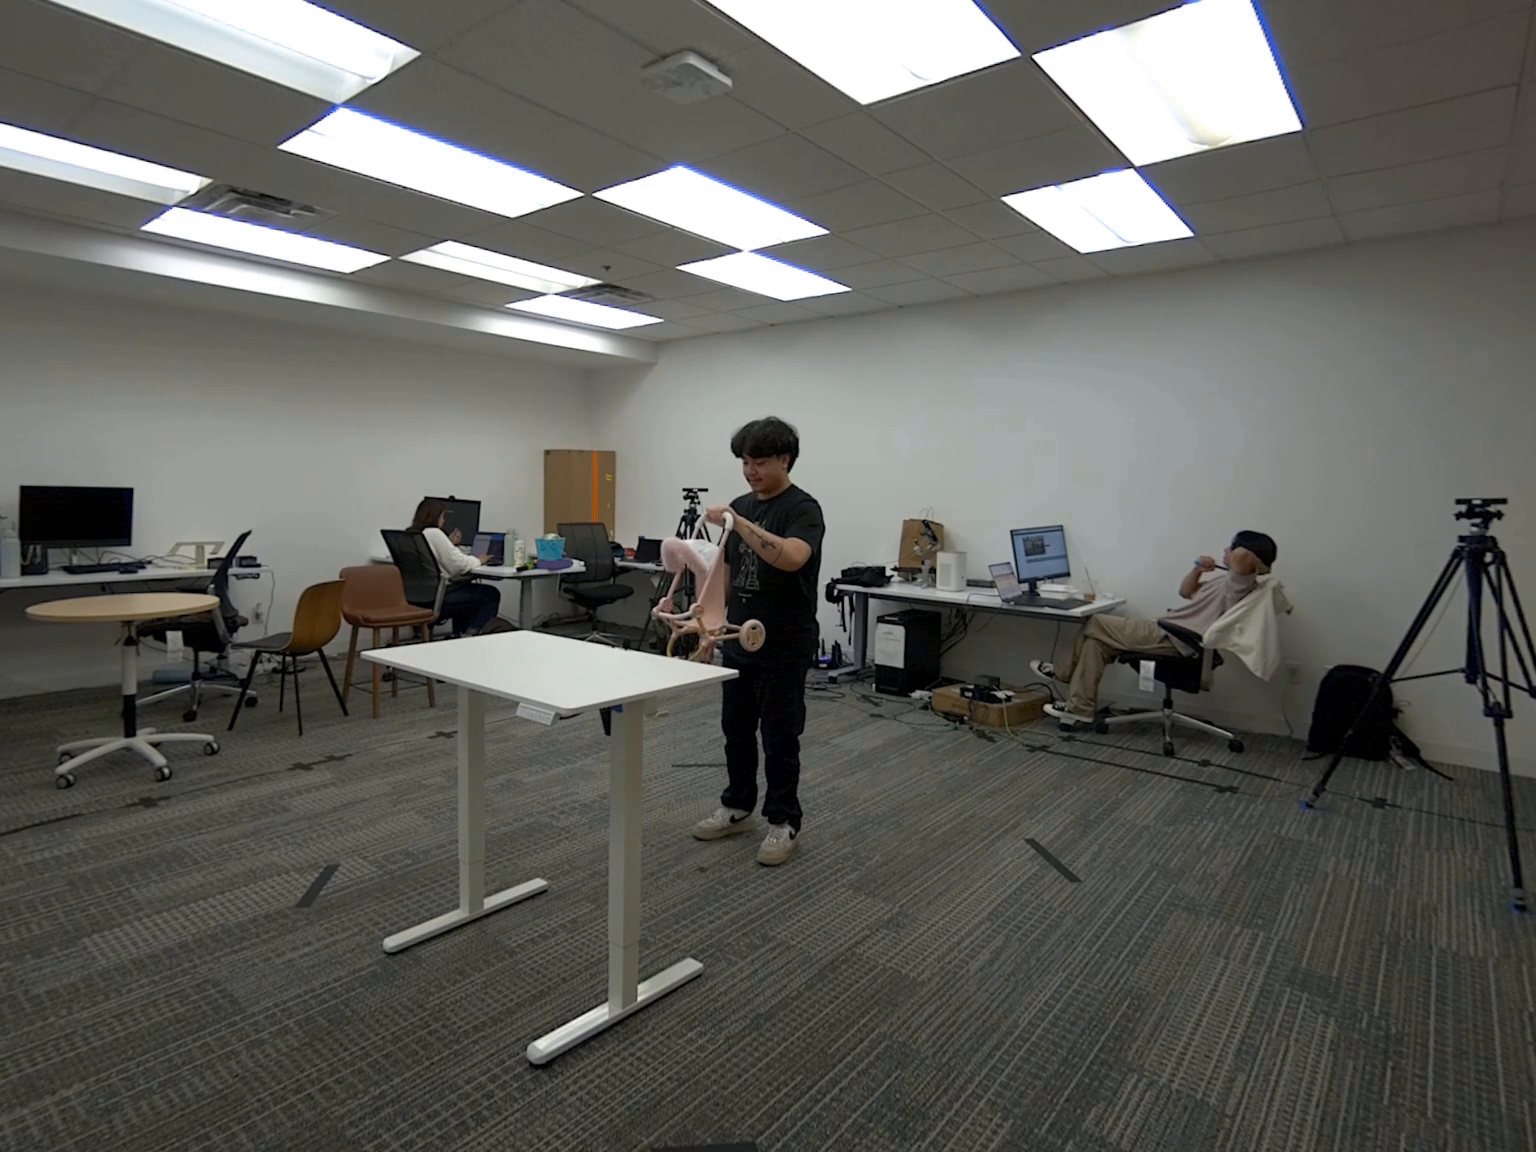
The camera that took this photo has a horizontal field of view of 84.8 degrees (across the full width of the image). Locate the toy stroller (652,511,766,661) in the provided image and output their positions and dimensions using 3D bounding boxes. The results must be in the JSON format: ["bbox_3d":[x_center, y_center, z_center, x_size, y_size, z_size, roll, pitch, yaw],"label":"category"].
[{"bbox_3d":[-0.264,0.078,2.952,0.335,0.528,0.290,-18,14,-30],"label":"toy stroller"}]
